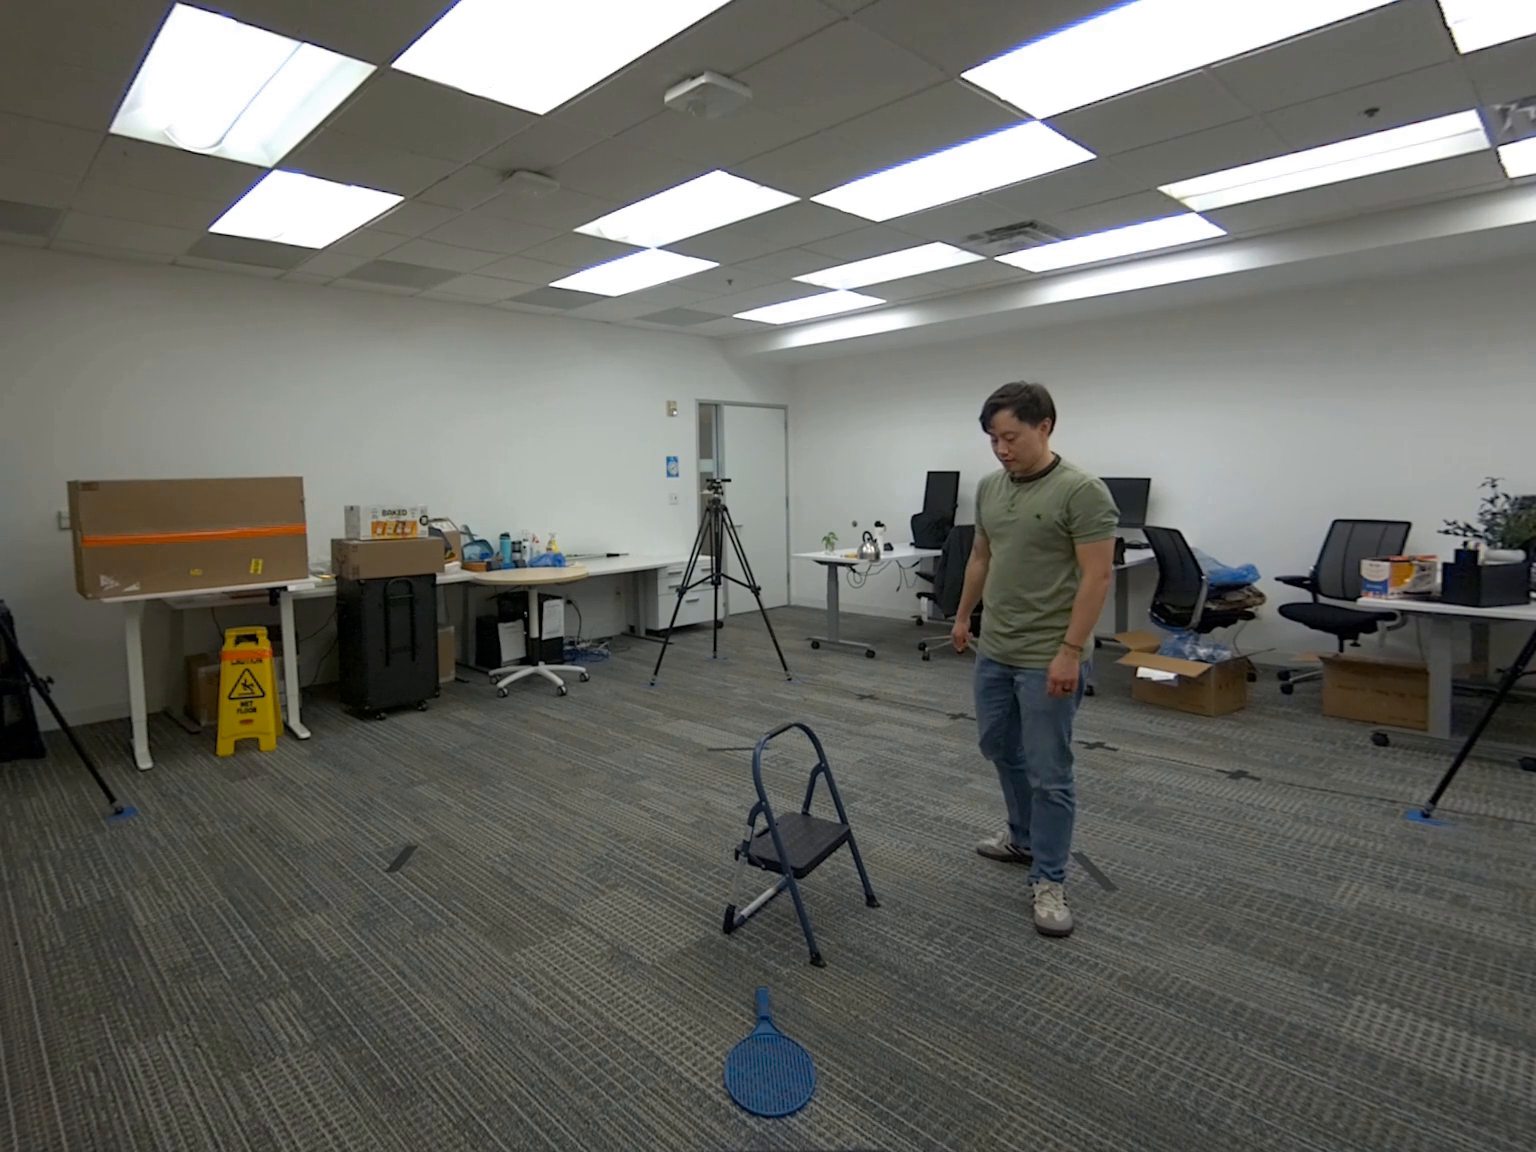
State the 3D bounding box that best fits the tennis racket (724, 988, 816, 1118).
[{"bbox_3d":[0.006,1.159,2.080,0.214,0.031,0.436,-1,8,-1],"label":"tennis racket"}]
